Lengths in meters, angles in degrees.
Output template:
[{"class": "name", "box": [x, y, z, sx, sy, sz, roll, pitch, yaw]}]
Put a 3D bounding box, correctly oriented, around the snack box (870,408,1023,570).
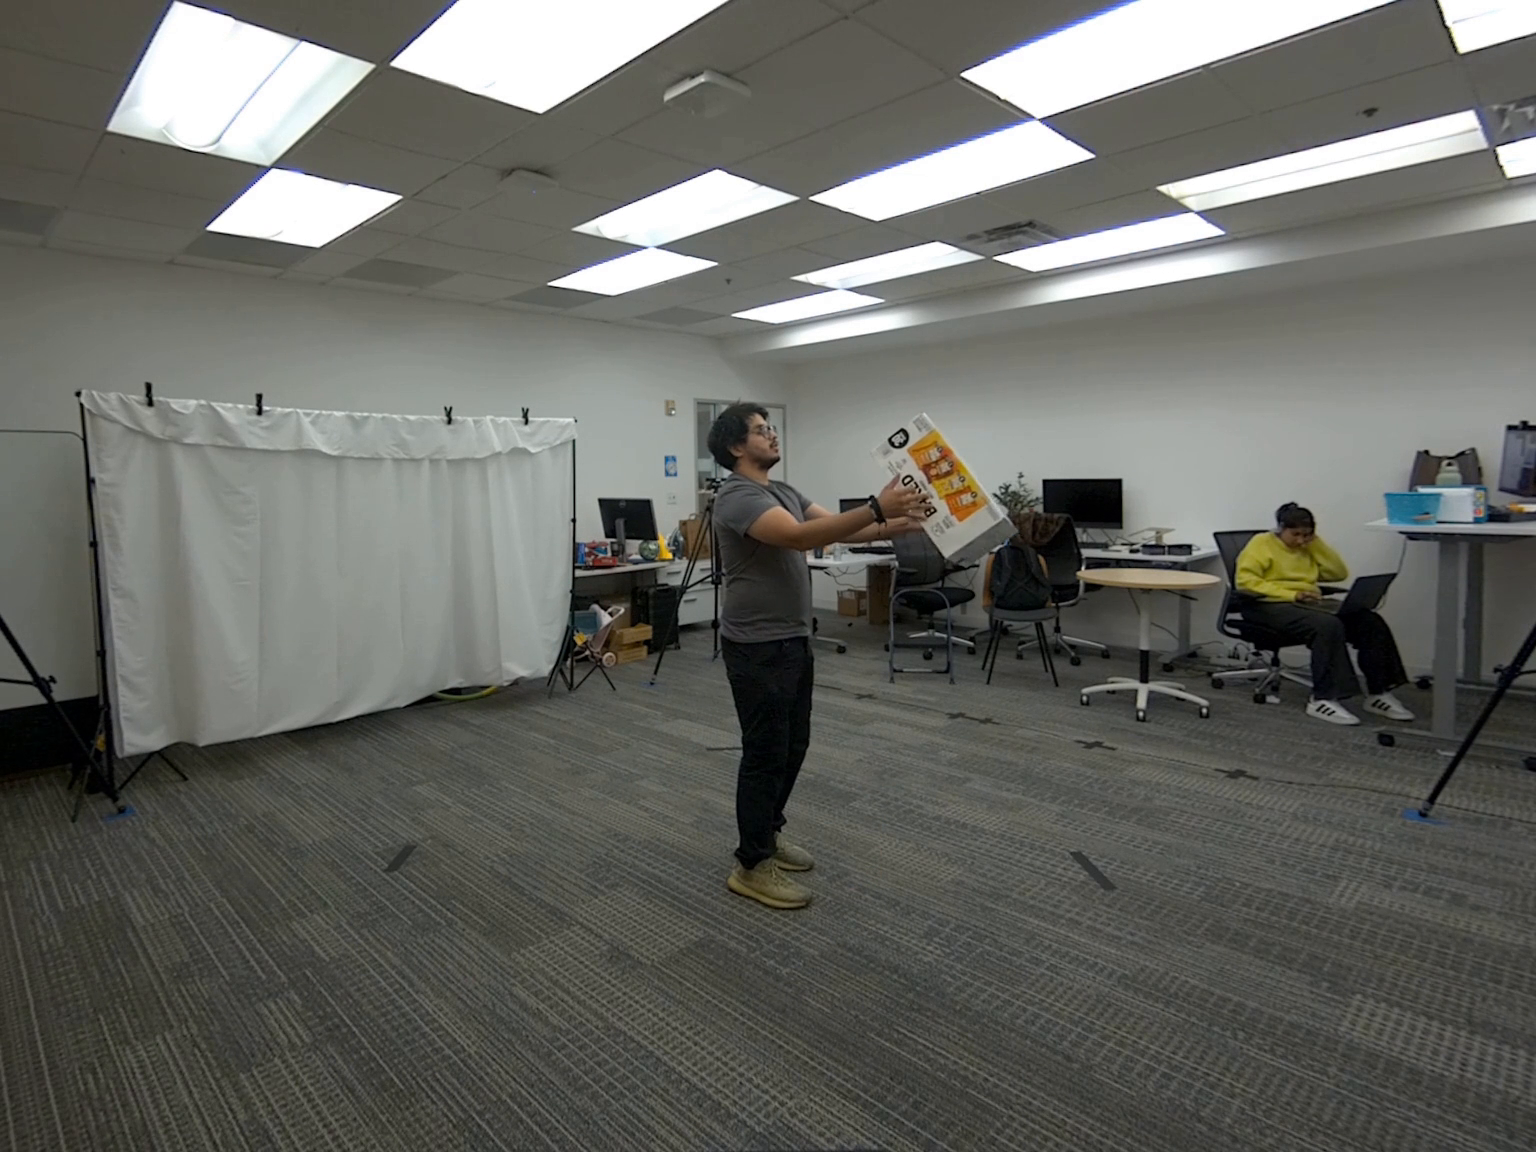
[{"class": "snack box", "box": [0.558, -0.262, 2.664, 0.206, 0.415, 0.331, -38, -20, 16]}]
